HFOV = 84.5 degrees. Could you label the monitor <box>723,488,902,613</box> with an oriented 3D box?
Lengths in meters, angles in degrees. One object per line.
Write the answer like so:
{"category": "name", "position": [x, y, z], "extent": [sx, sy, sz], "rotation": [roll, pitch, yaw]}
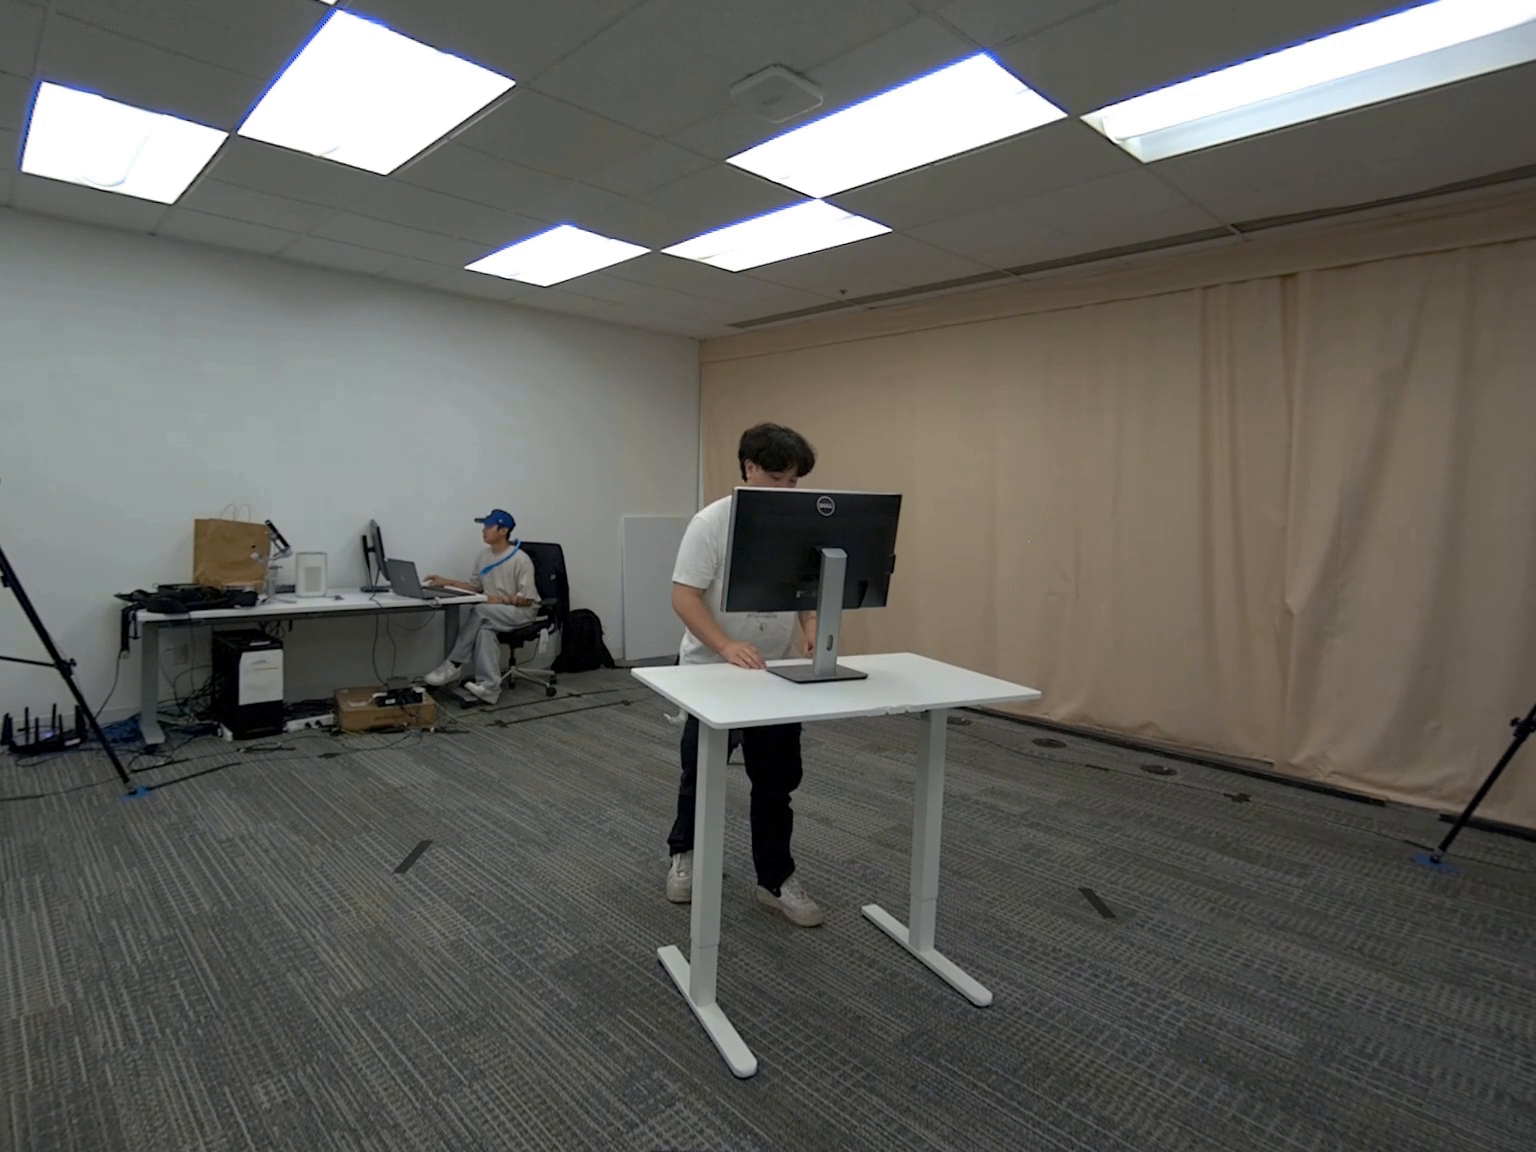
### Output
{"category": "monitor", "position": [0.157, 0.029, 2.423], "extent": [0.554, 0.551, 0.215], "rotation": [0, 8, -27]}
